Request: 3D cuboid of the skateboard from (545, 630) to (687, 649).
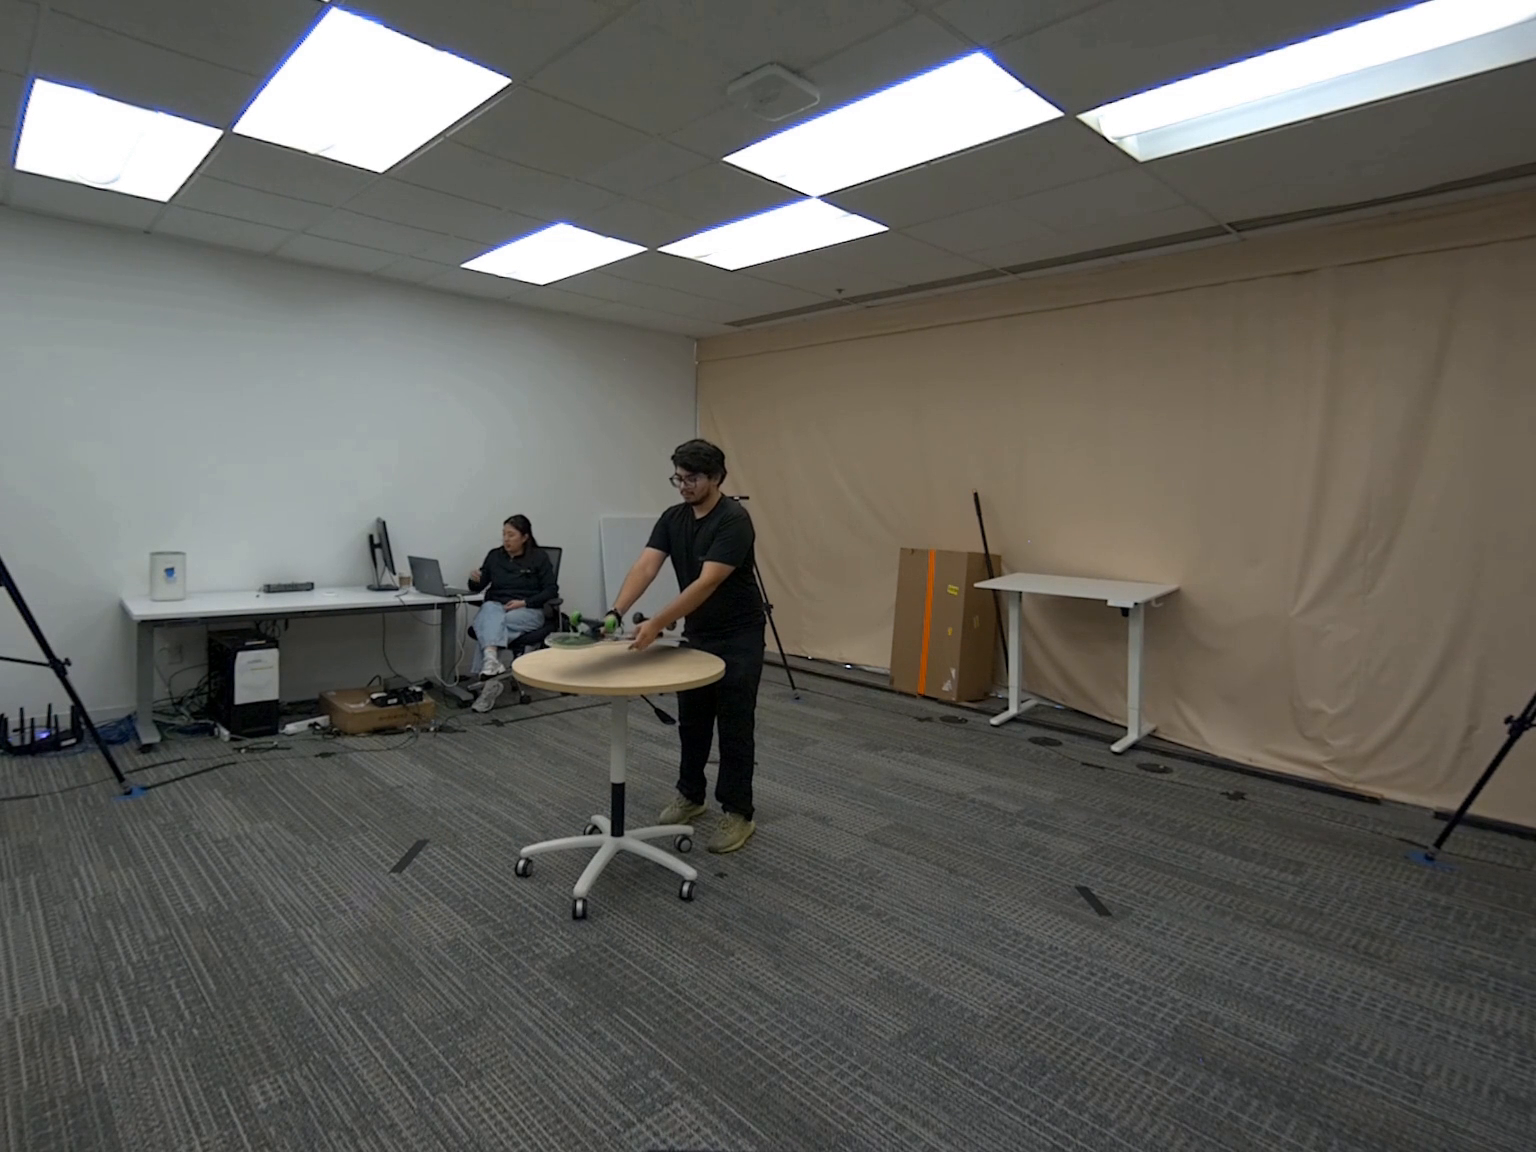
[{"bbox_3d":[-0.545,0.202,3.102,0.198,0.110,0.767,9,-1,27],"label":"skateboard"}]
